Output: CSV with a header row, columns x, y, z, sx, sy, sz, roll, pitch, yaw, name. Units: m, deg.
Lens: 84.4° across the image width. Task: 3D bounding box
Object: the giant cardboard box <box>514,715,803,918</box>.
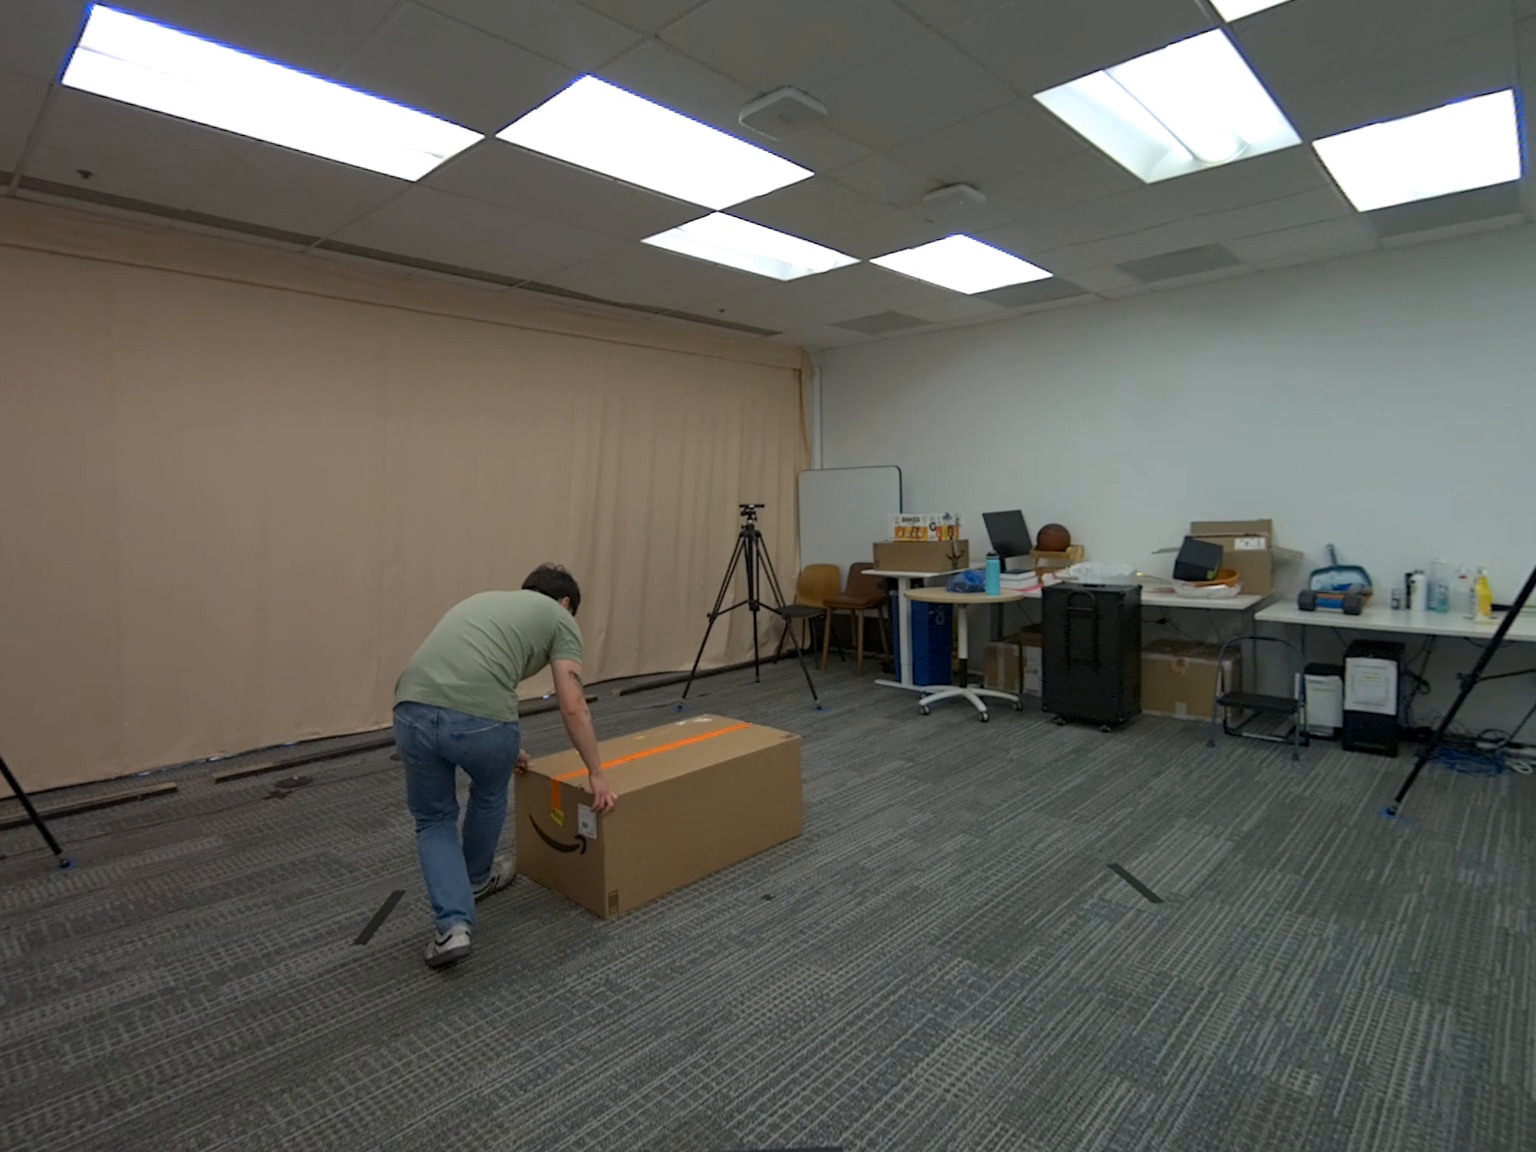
x,y,z,sx,sy,sz,roll,pitch,yaw,name
-0.406,0.903,3.380,0.596,0.425,0.995,2,6,44,giant cardboard box
